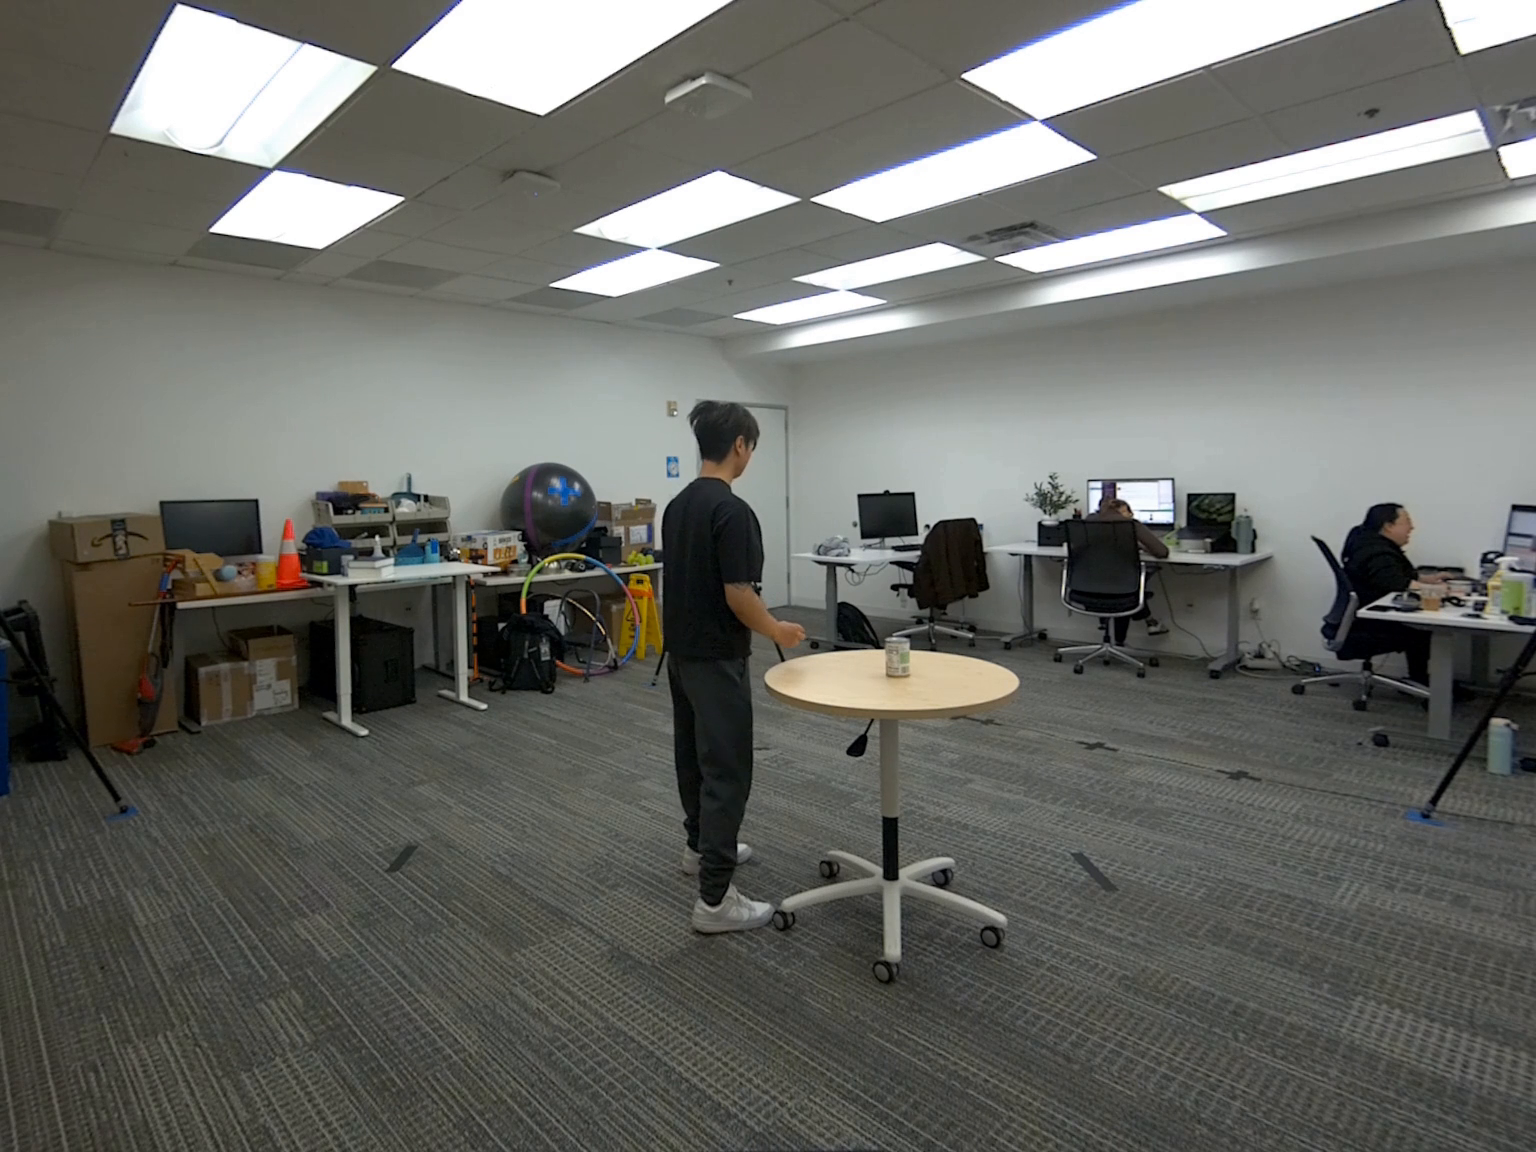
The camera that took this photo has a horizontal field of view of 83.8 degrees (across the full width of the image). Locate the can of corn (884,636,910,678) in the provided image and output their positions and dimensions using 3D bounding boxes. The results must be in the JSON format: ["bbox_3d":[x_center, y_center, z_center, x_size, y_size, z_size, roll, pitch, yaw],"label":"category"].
[{"bbox_3d":[0.390,0.249,2.633,0.074,0.110,0.075,0,8,-2],"label":"can of corn"}]
